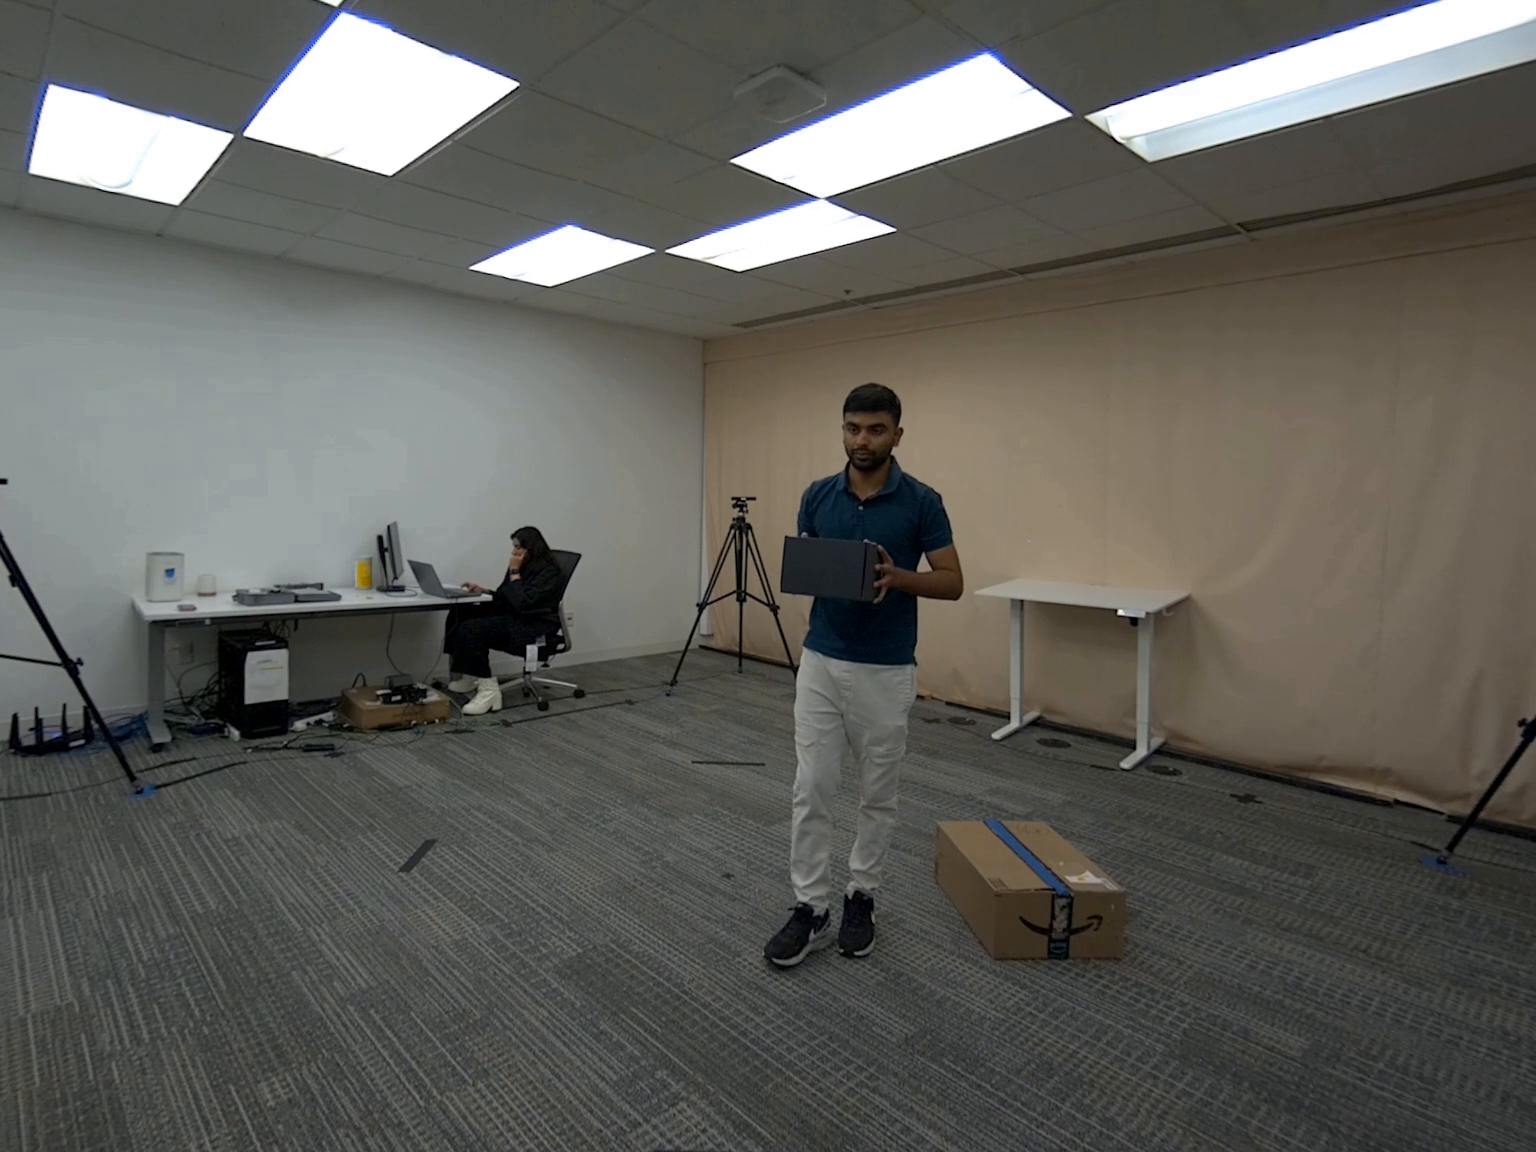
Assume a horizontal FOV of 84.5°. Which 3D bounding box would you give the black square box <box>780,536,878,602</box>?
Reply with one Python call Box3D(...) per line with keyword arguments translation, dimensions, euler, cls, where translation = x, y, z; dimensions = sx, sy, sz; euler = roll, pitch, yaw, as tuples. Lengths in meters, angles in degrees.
Box3D(translation=(0.173, -0.017, 2.337), dimensions=(0.231, 0.156, 0.213), euler=(3, -2, 17), cls="black square box")
